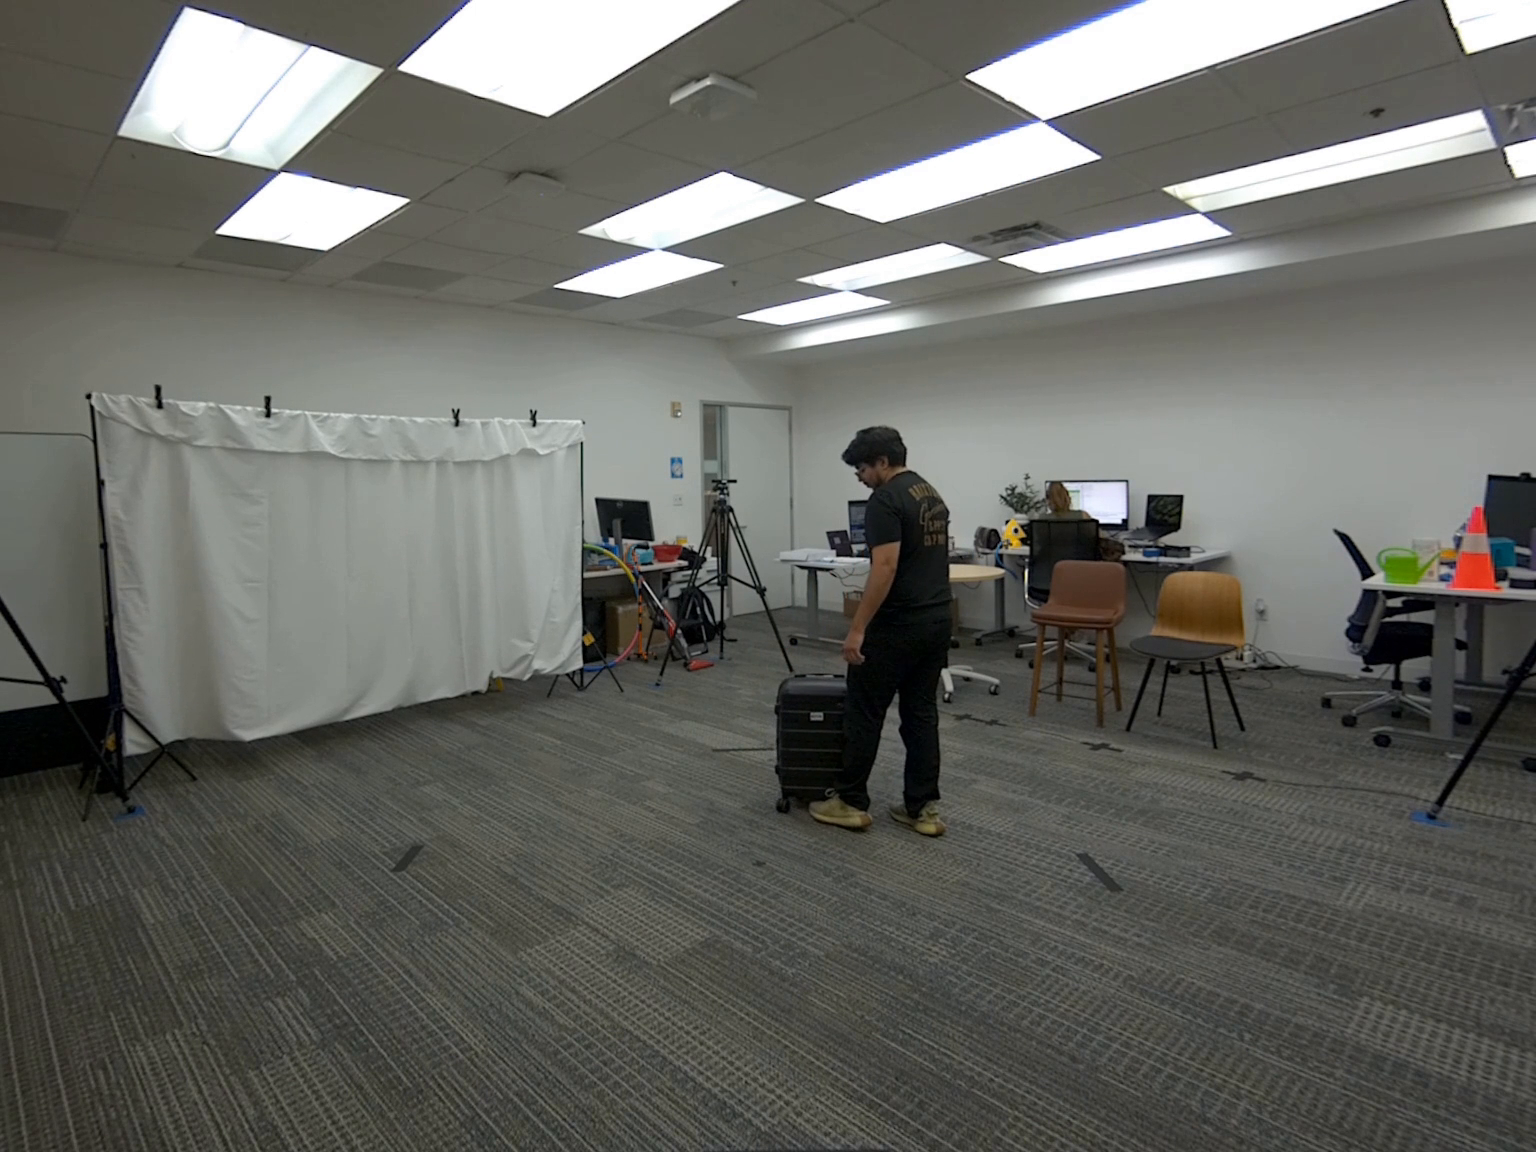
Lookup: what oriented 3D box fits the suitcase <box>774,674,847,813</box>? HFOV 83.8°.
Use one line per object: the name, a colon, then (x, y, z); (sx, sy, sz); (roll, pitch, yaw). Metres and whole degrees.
suitcase: (0.227, 0.703, 3.672); (0.378, 0.548, 0.247); (0, 3, 7)
